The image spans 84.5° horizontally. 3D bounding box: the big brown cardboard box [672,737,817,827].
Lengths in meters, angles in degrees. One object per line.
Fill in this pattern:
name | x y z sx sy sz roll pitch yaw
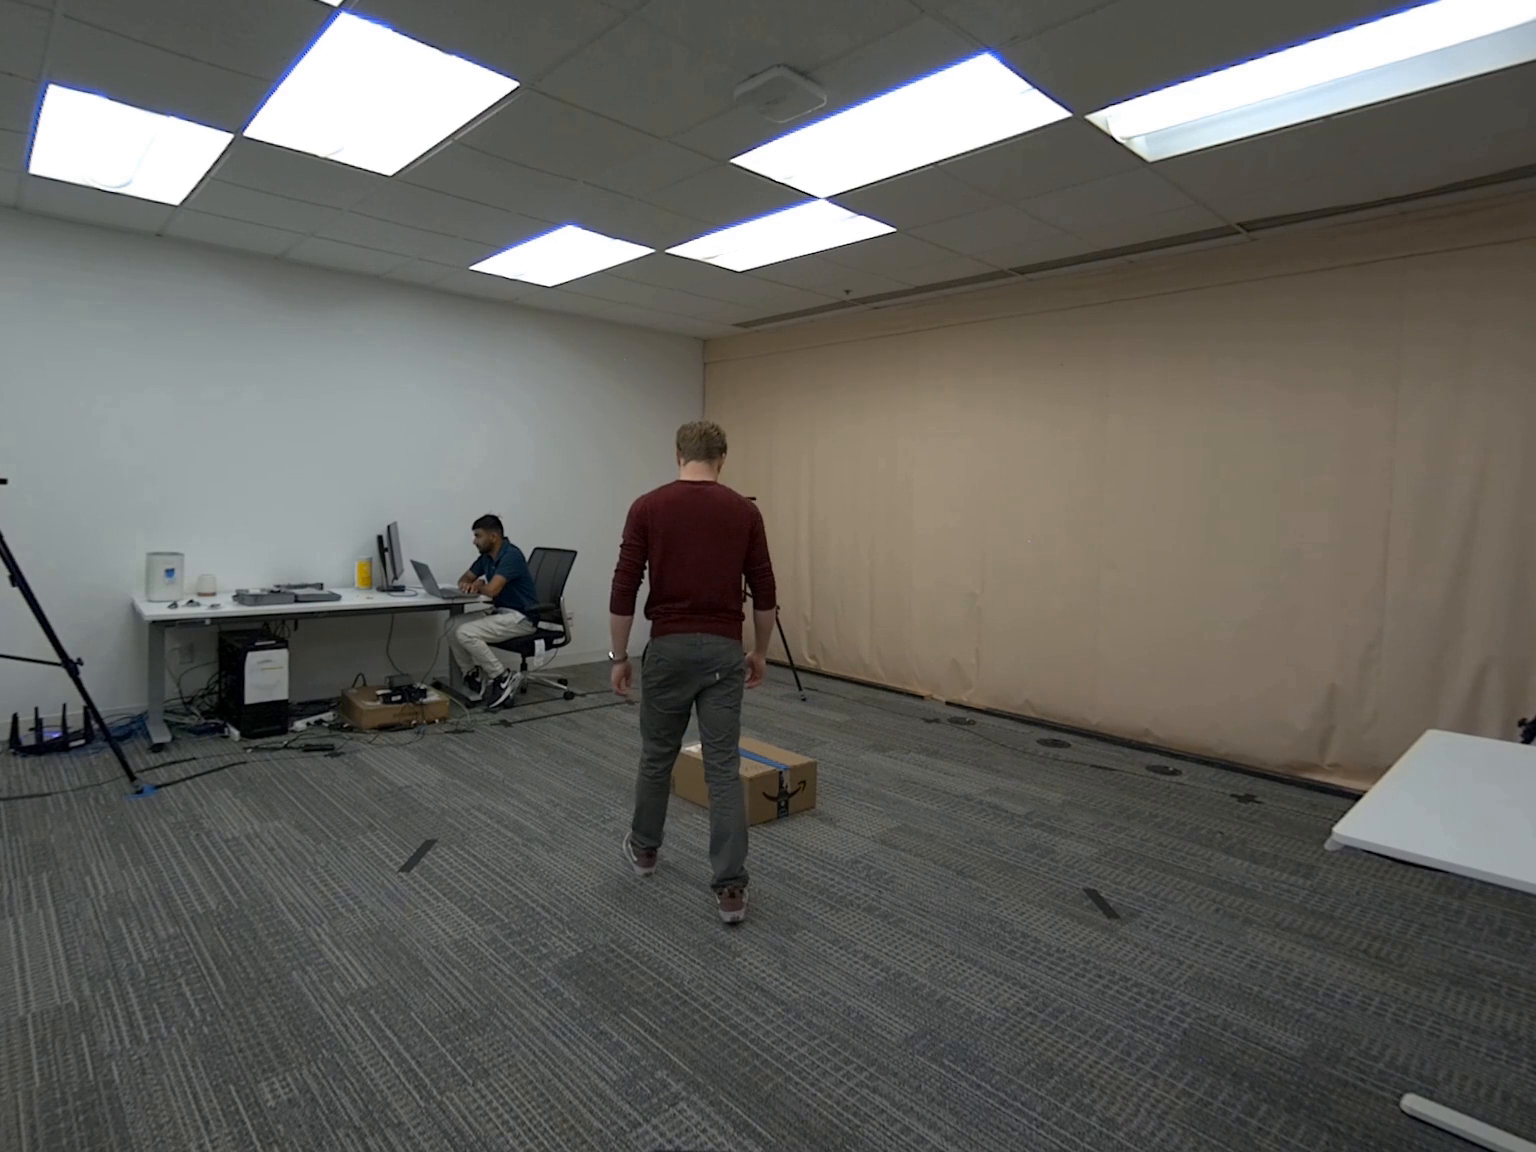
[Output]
big brown cardboard box | -0.130 0.924 3.908 0.408 0.232 0.604 -2 6 -42
